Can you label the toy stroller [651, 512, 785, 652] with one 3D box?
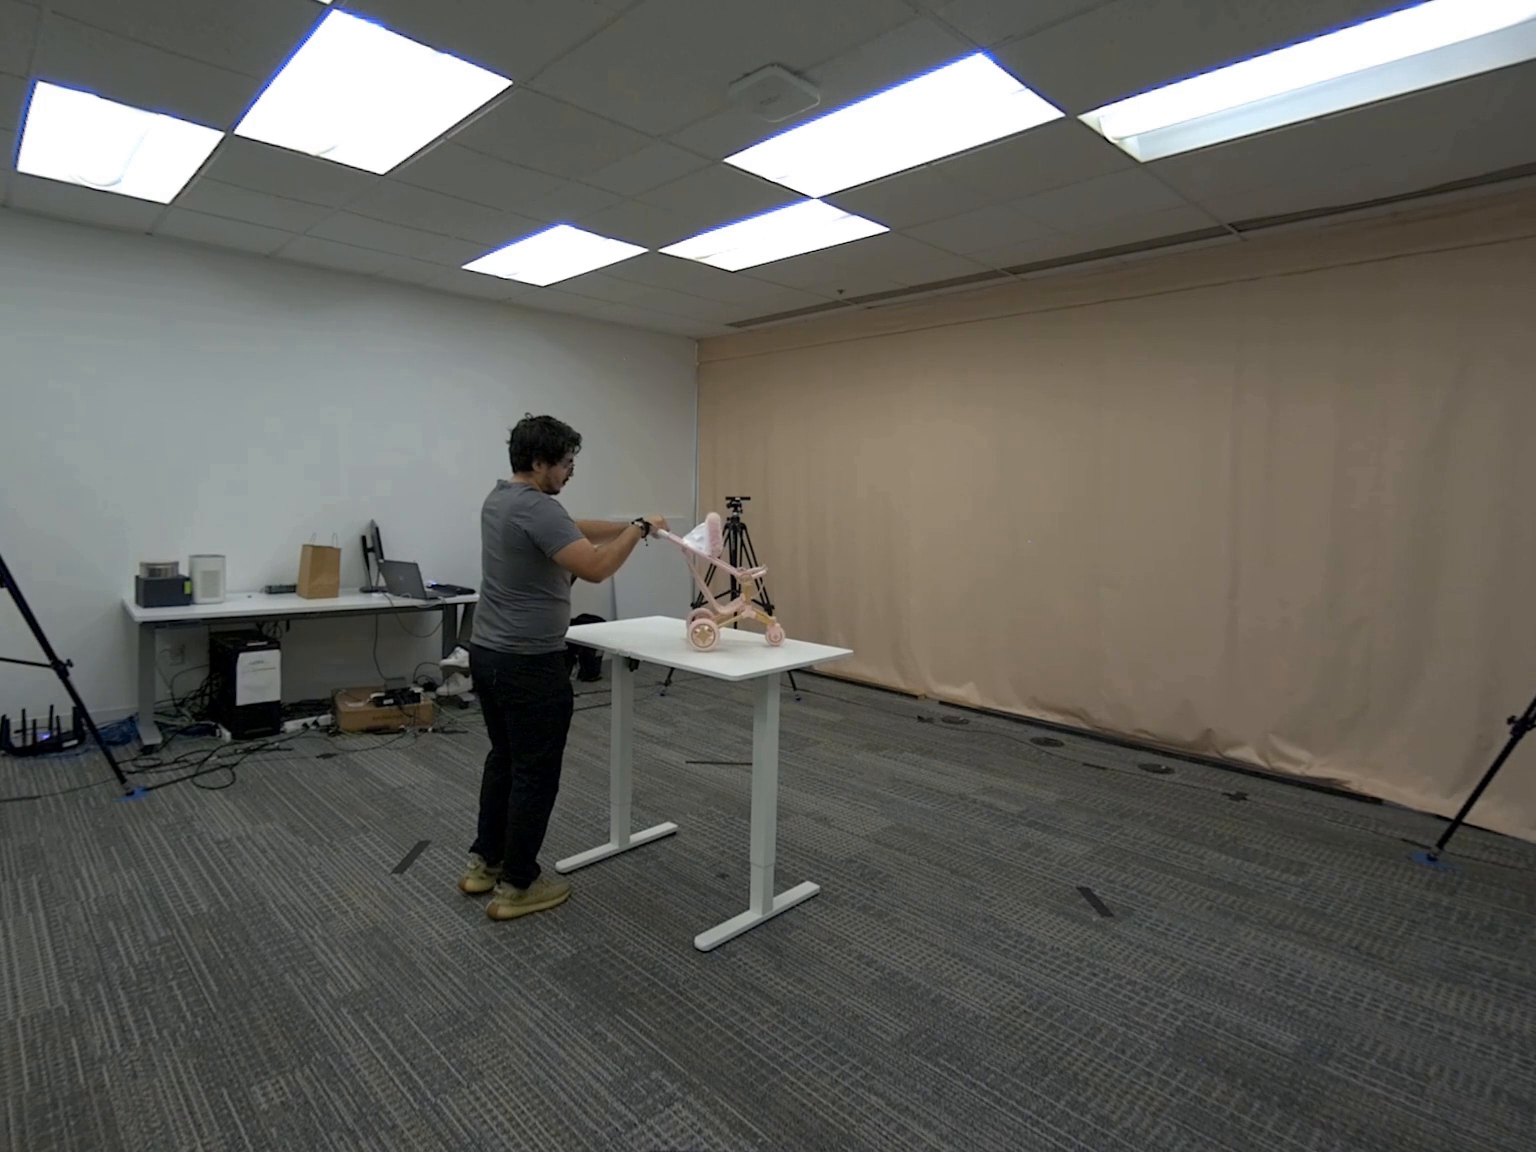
[{"bbox_3d":[-0.171,0.023,2.894,0.341,0.533,0.282,-15,5,1],"label":"toy stroller"}]
